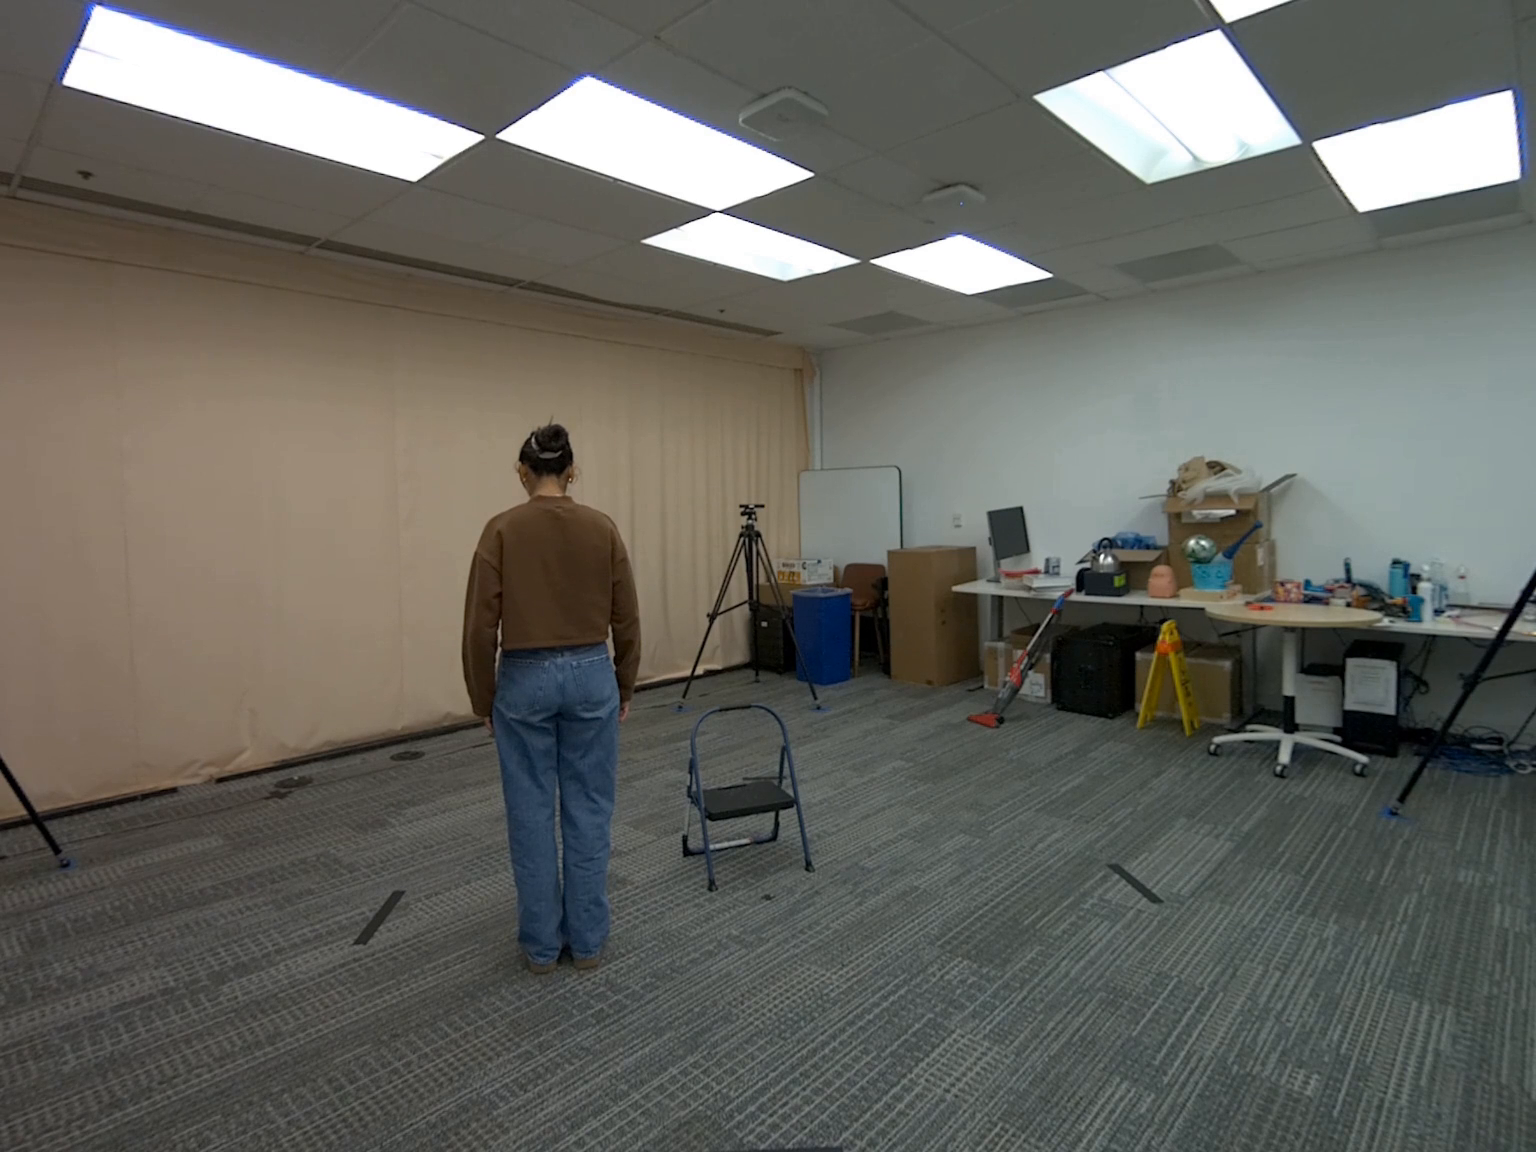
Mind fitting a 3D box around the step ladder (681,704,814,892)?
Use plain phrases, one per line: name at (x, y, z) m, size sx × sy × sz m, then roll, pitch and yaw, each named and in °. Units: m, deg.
step ladder at (-0.086, 0.815, 3.259) m, size 0.421 × 0.605 × 0.358 m, roll -3°, pitch 4°, yaw -23°
